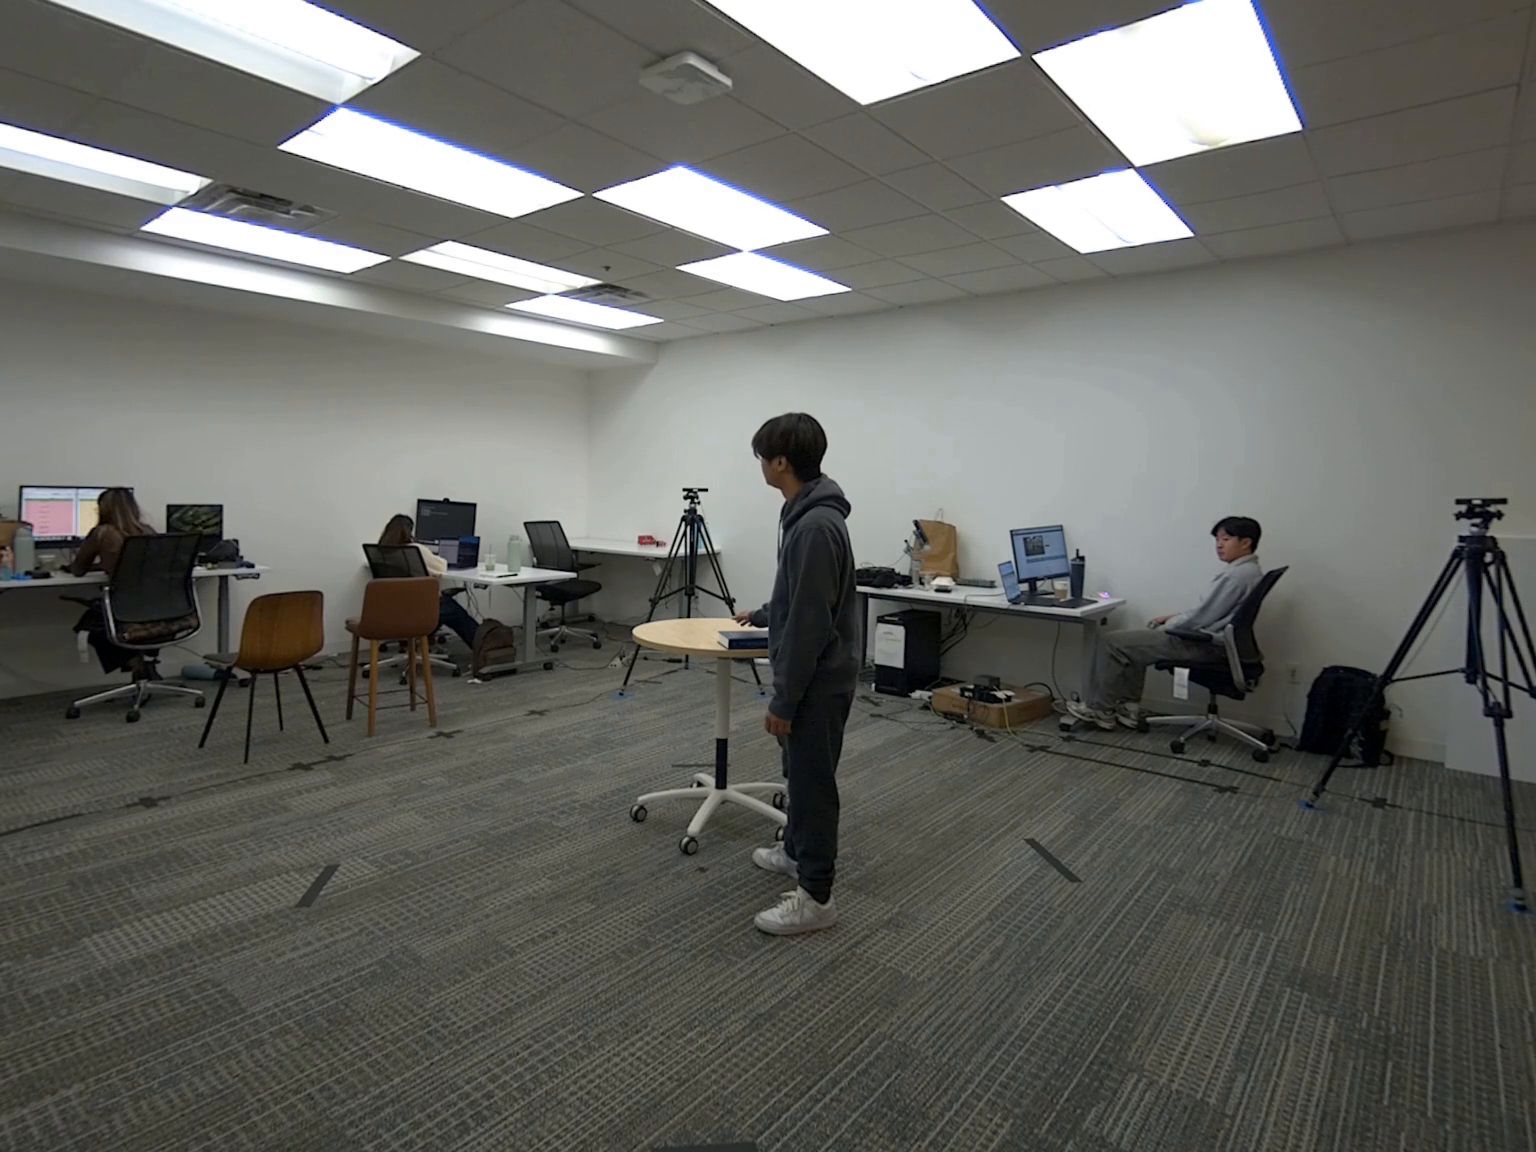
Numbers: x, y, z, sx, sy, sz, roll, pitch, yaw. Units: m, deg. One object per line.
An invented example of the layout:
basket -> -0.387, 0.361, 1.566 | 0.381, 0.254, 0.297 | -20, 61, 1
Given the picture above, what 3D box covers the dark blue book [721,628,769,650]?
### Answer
dark blue book -> -0.067, 0.241, 3.264 | 0.241, 0.045, 0.166 | 0, 6, -15
